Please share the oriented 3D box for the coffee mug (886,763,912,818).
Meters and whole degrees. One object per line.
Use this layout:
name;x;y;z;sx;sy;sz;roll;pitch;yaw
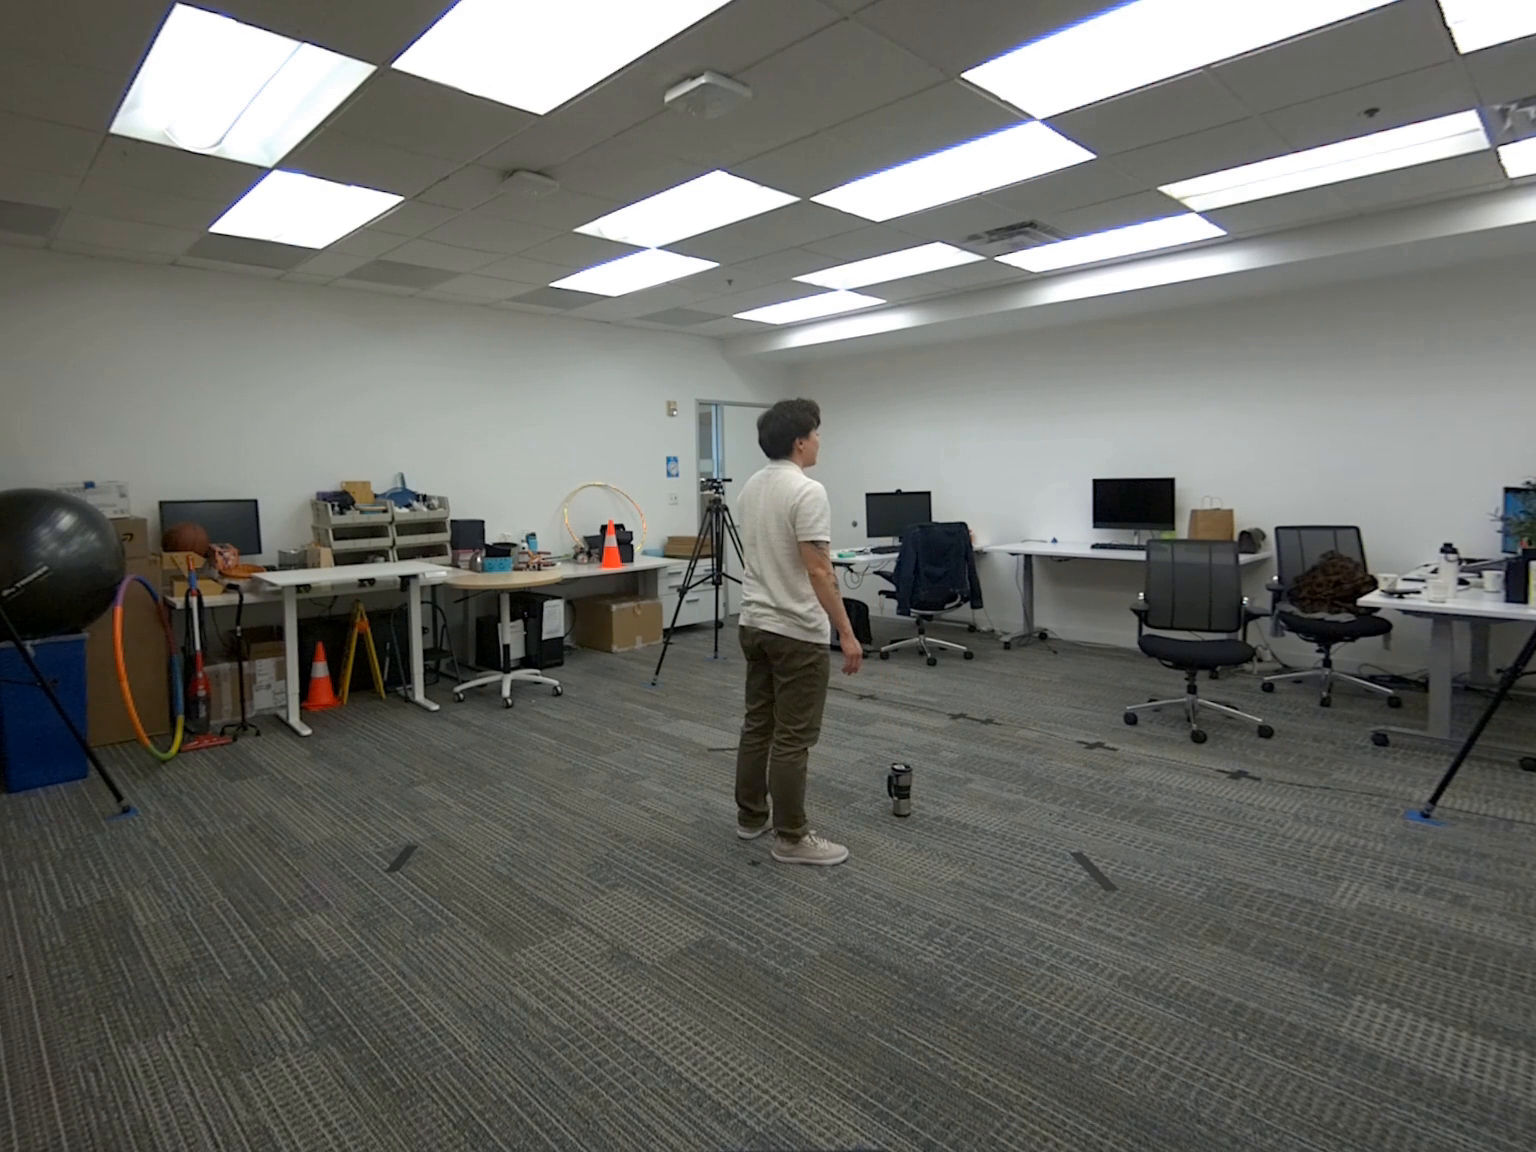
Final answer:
coffee mug;0.535;0.888;3.531;0.120;0.202;0.090;2;5;-16
